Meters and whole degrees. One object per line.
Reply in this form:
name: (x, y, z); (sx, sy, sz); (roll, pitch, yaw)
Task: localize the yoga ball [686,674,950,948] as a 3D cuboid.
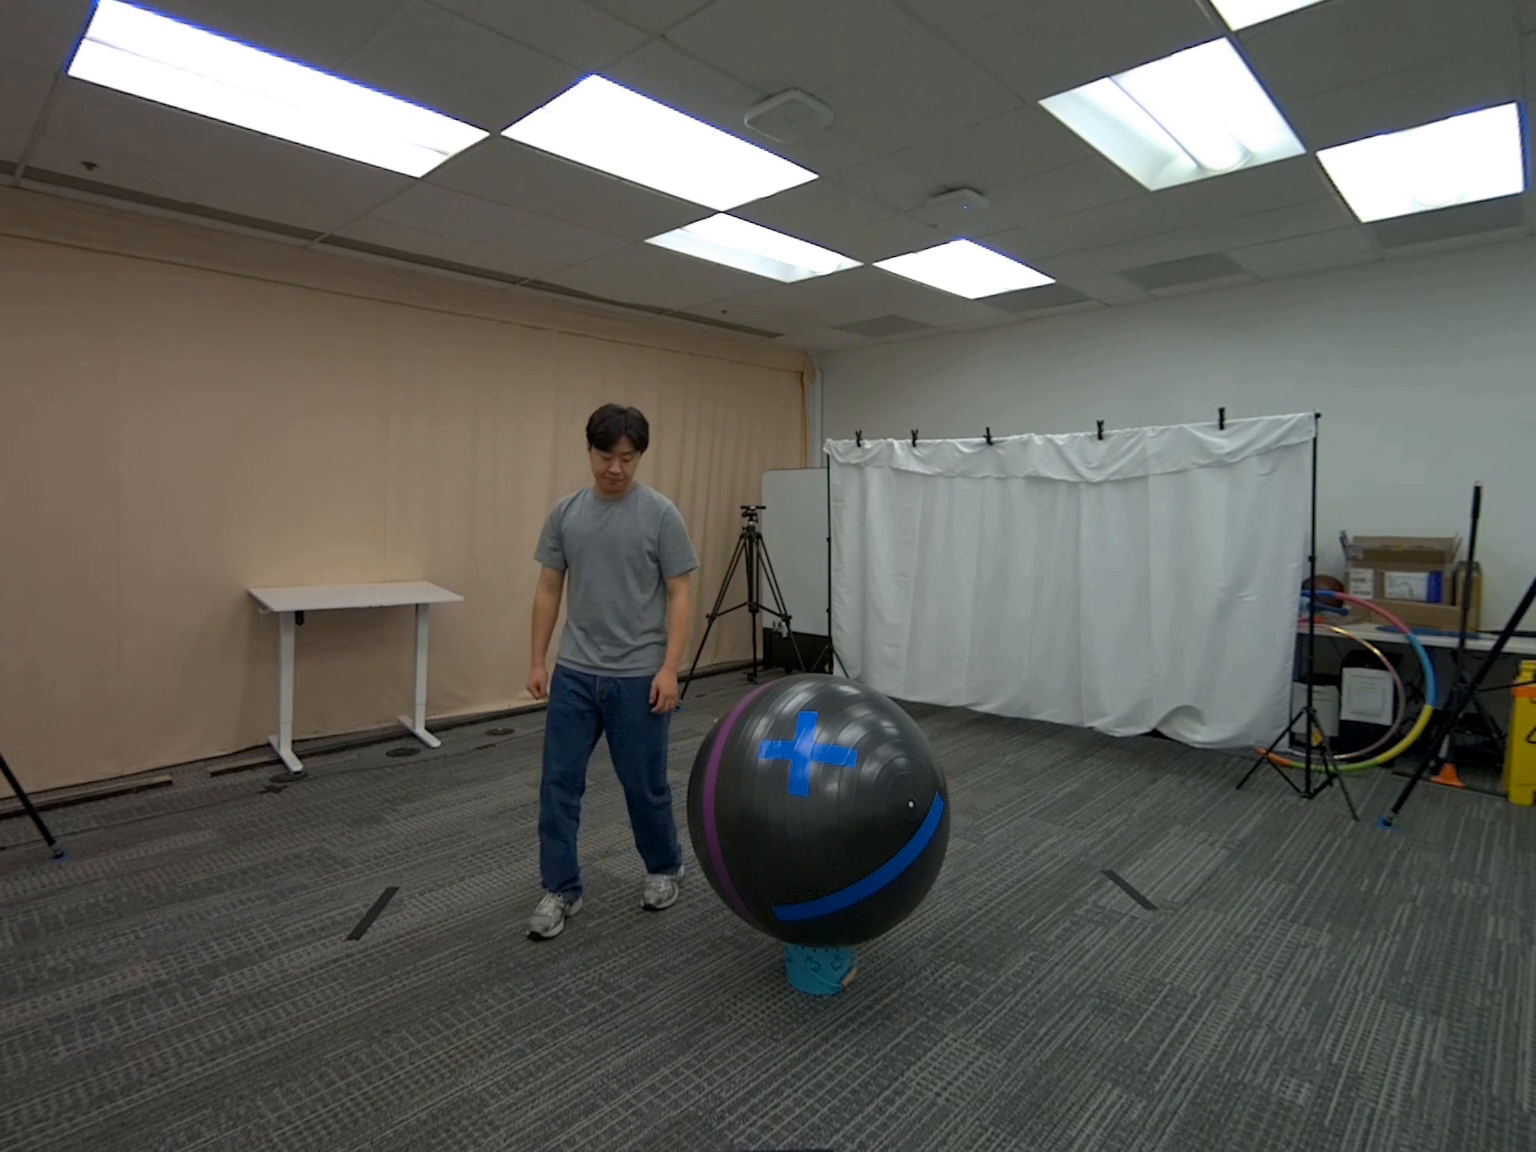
yoga ball: (0.144, 0.678, 2.464); (0.757, 0.756, 0.760); (0, 4, -2)
